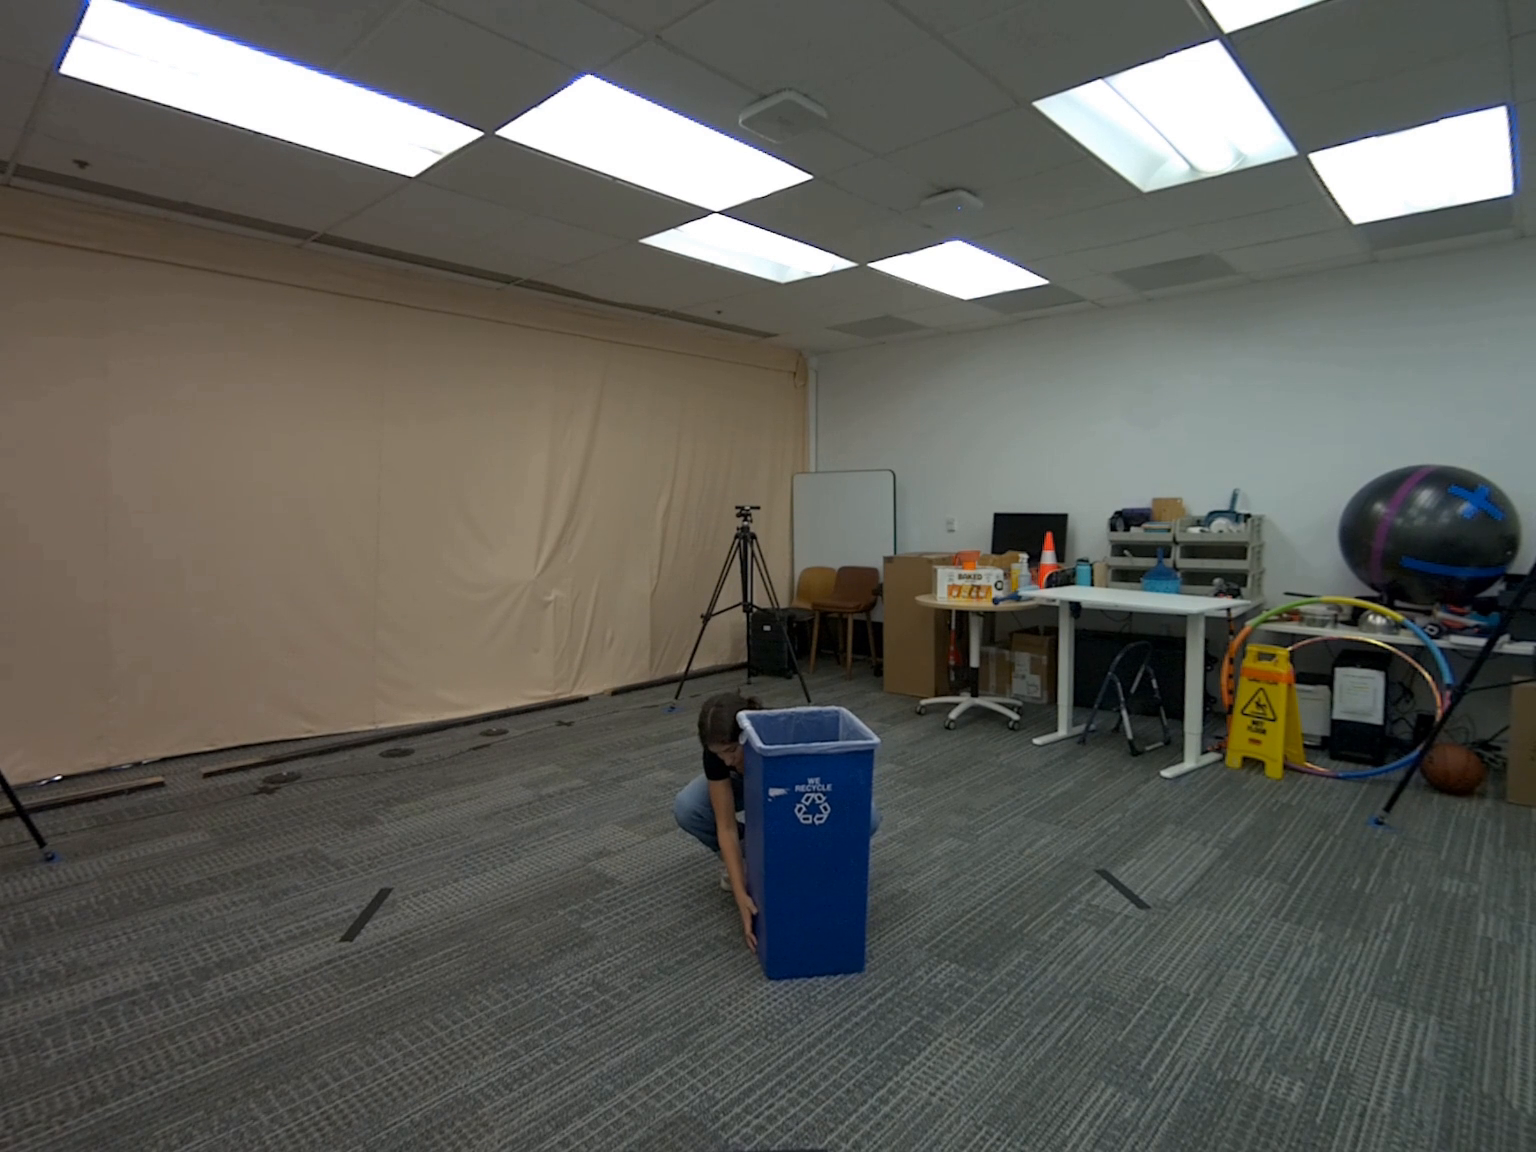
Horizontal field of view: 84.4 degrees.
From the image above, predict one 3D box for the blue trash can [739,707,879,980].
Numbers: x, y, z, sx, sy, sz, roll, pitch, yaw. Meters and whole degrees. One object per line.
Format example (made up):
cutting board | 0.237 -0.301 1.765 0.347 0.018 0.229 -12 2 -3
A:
blue trash can | 0.120 0.809 2.594 0.370 0.711 0.384 -2 6 -11
